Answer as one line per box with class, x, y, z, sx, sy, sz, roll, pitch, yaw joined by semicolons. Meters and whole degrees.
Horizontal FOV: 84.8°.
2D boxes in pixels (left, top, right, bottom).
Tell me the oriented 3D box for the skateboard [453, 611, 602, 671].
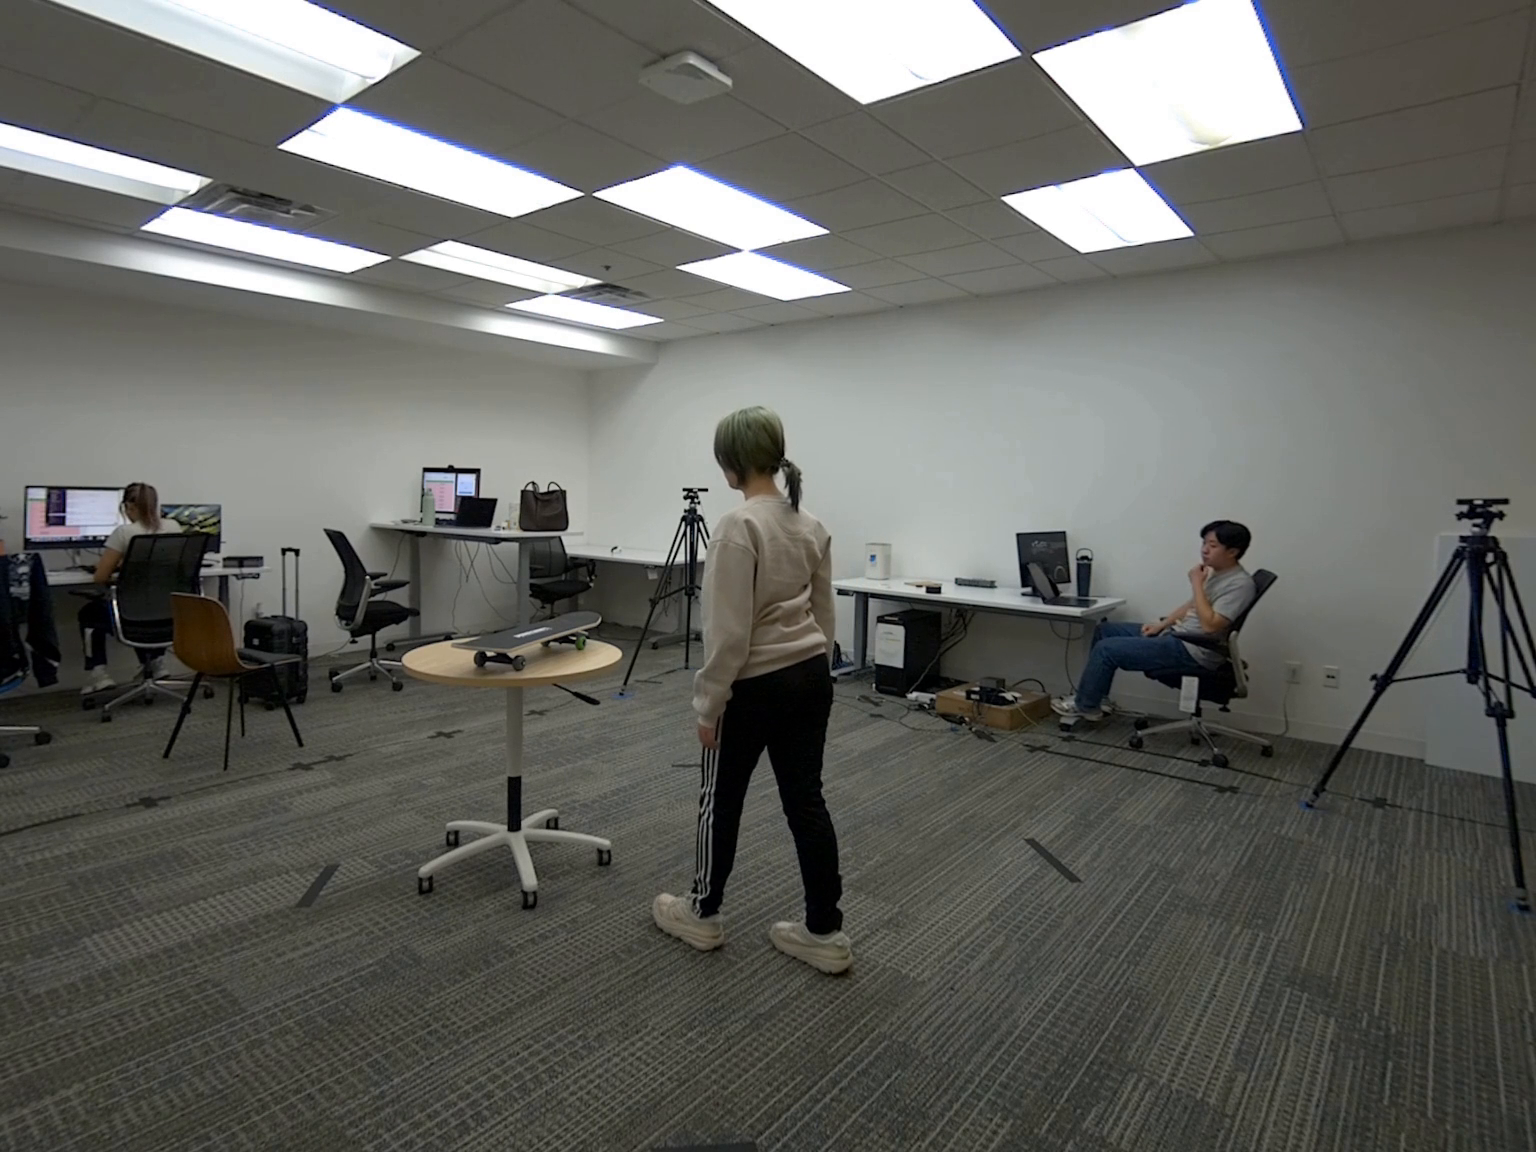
skateboard;-0.854;0.237;3.011;0.197;0.110;0.772;2;6;19
